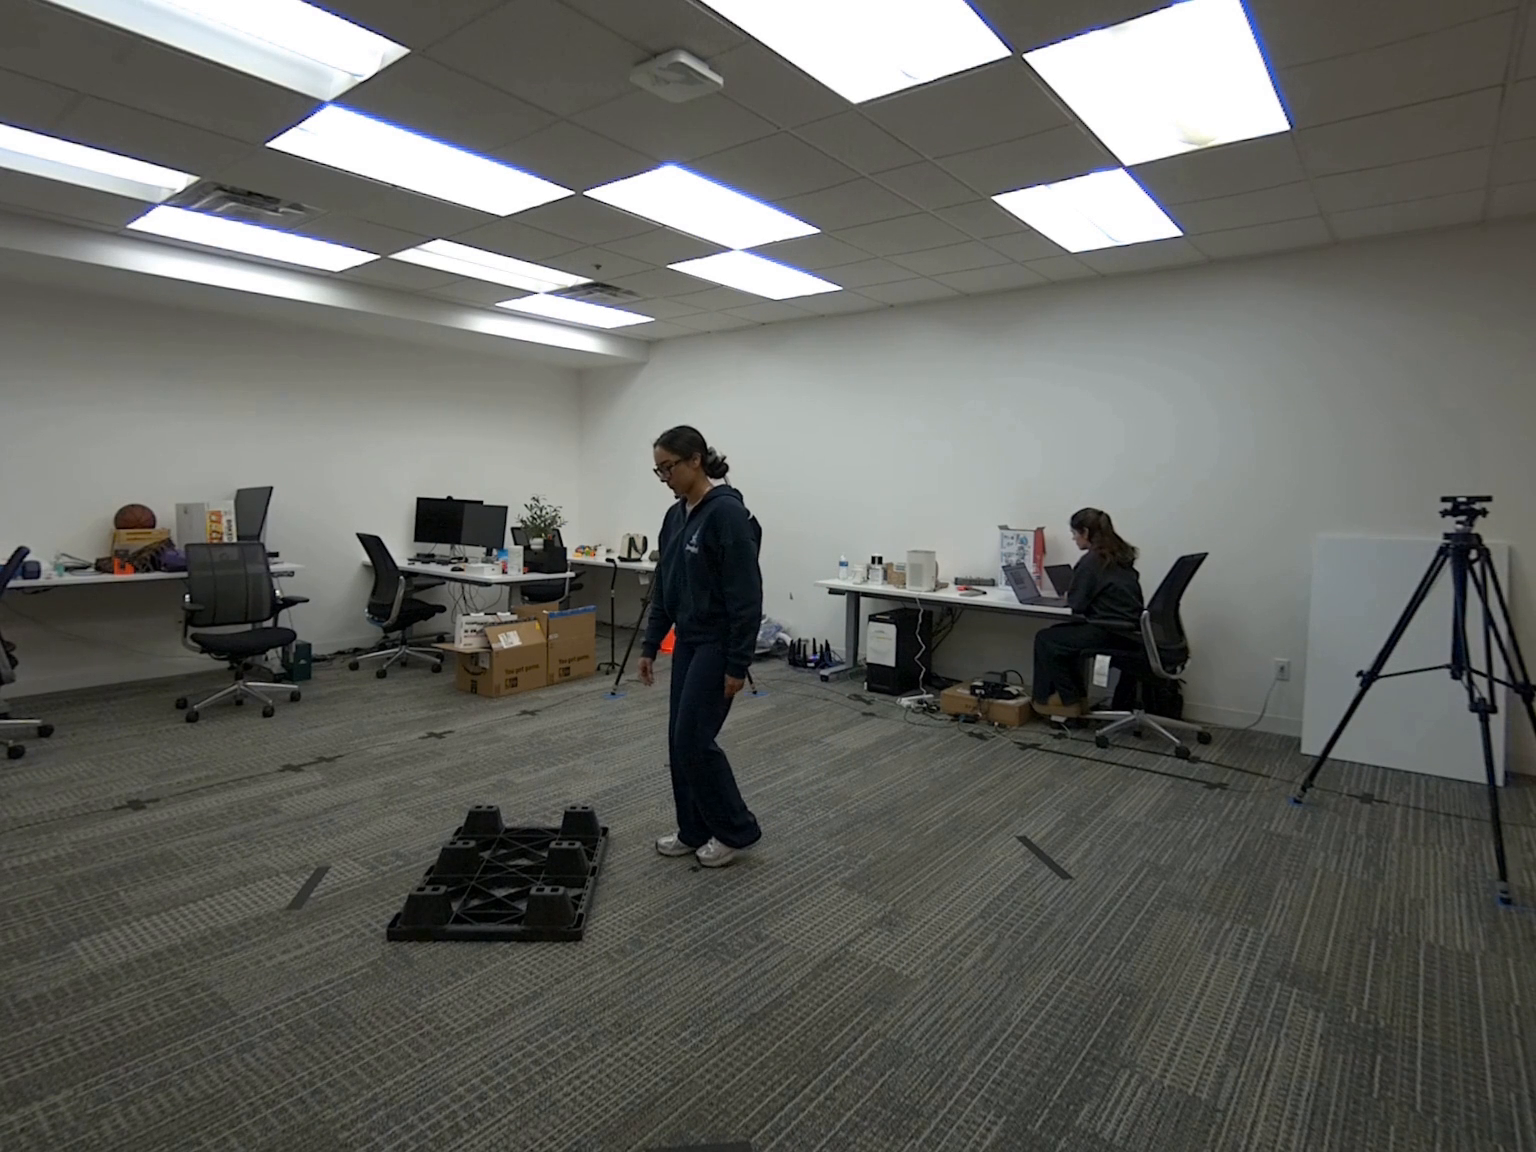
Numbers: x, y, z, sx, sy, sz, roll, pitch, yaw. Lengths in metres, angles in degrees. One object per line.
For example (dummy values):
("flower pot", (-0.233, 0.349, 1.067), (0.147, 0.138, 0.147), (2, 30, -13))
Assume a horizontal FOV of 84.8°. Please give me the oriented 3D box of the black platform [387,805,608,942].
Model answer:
("black platform", (-0.913, 1.004, 2.982), (0.603, 0.143, 0.811), (0, 6, -4))
